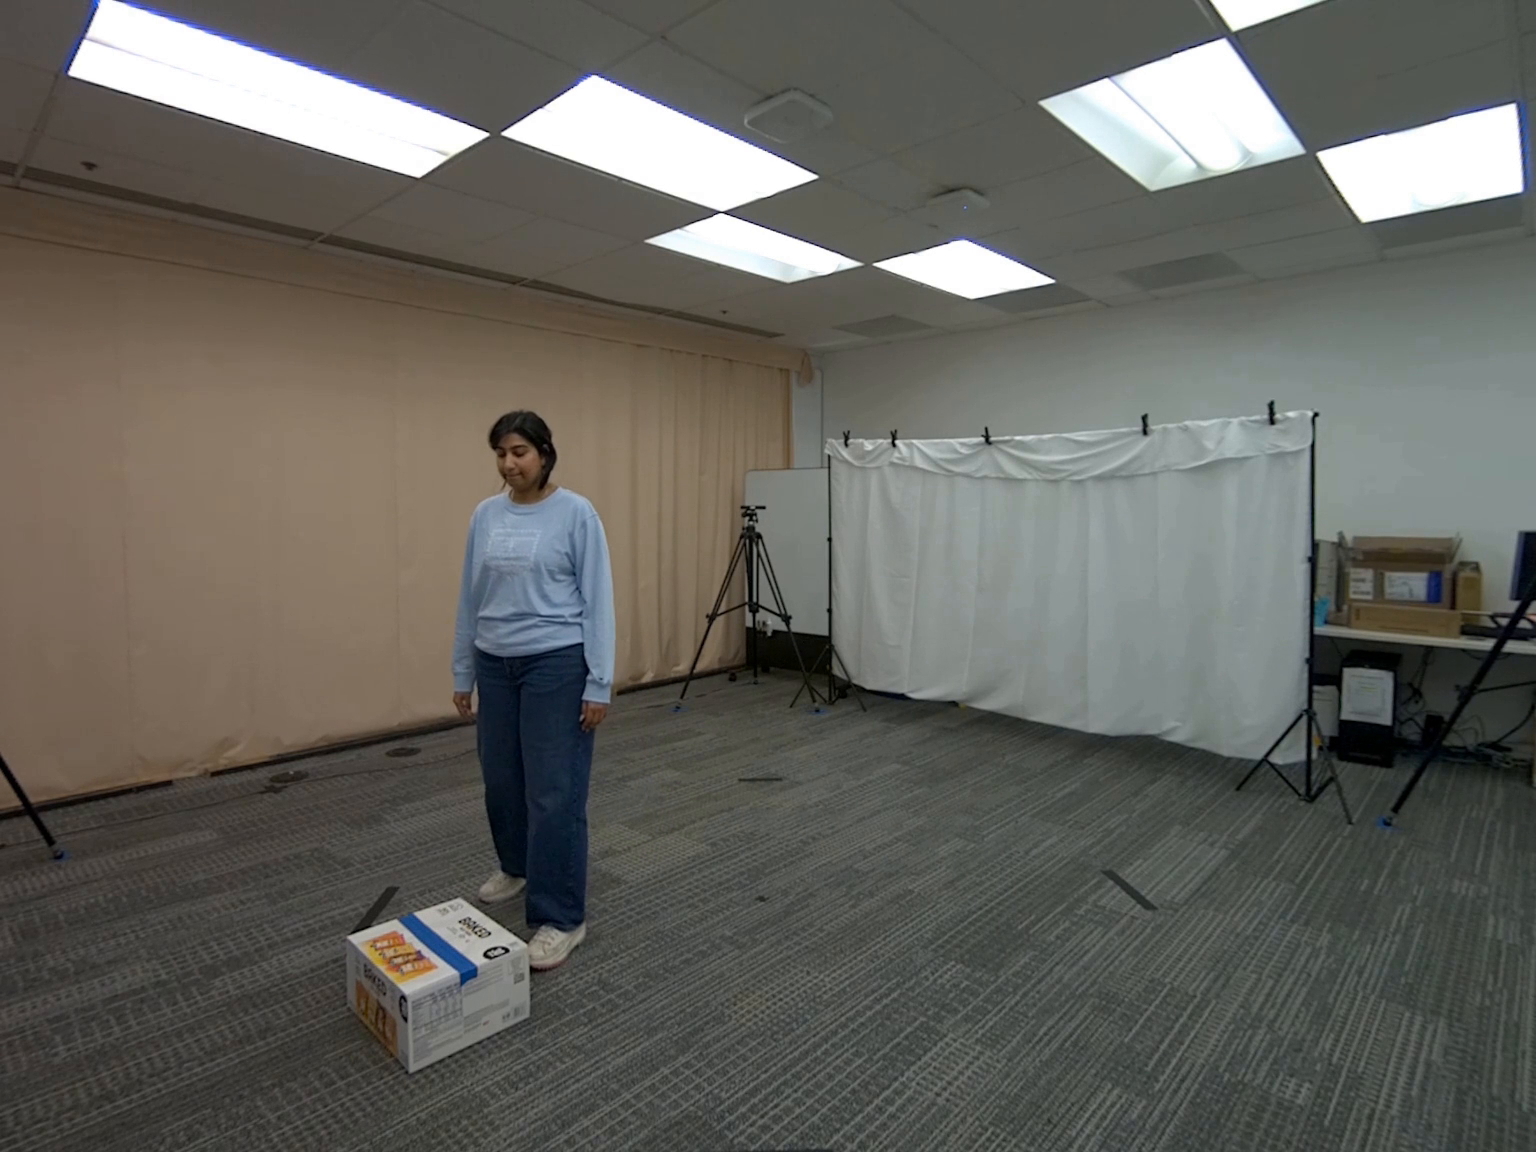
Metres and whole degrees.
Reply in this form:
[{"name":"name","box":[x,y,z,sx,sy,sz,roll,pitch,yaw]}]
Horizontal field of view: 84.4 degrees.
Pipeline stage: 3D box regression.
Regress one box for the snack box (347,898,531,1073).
[{"name":"snack box","box":[-0.909,1.102,2.314,0.418,0.205,0.330,3,6,44]}]
